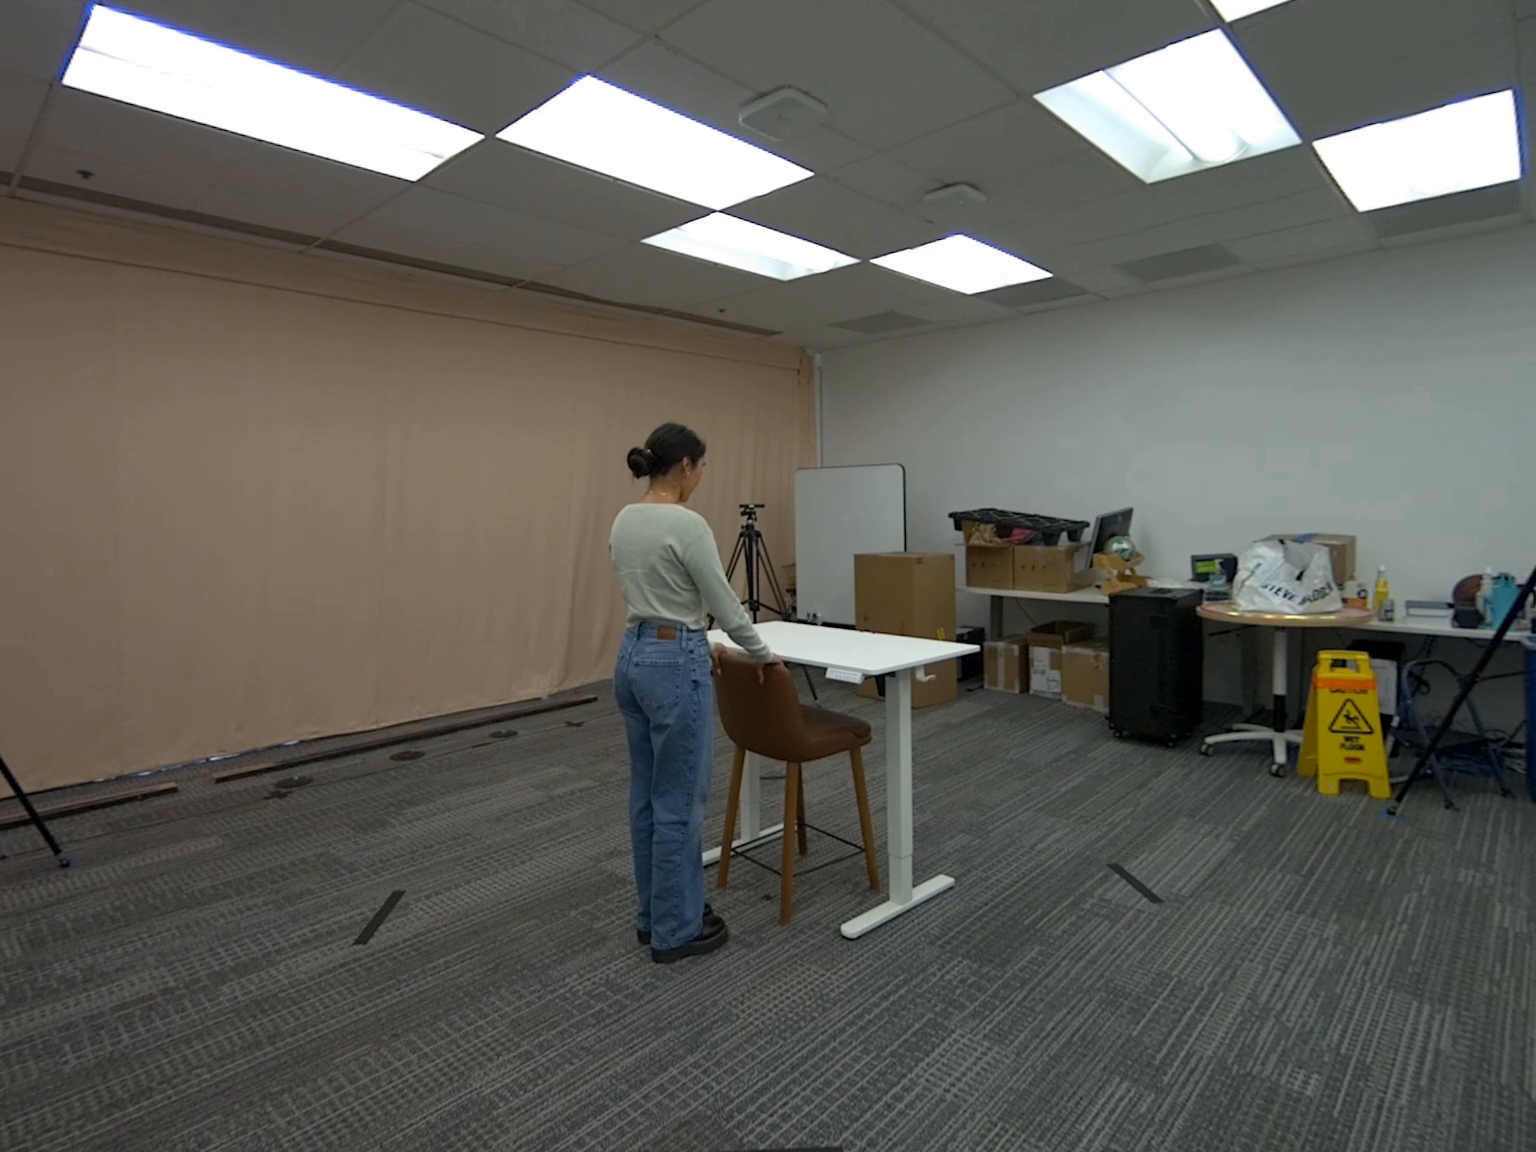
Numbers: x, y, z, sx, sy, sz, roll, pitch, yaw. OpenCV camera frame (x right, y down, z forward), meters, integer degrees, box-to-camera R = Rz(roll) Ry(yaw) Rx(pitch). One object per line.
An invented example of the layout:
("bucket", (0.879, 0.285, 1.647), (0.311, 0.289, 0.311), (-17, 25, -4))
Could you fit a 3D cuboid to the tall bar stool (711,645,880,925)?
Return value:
("tall bar stool", (0.089, 0.701, 3.030), (0.454, 0.886, 0.471), (-6, 7, -38))
